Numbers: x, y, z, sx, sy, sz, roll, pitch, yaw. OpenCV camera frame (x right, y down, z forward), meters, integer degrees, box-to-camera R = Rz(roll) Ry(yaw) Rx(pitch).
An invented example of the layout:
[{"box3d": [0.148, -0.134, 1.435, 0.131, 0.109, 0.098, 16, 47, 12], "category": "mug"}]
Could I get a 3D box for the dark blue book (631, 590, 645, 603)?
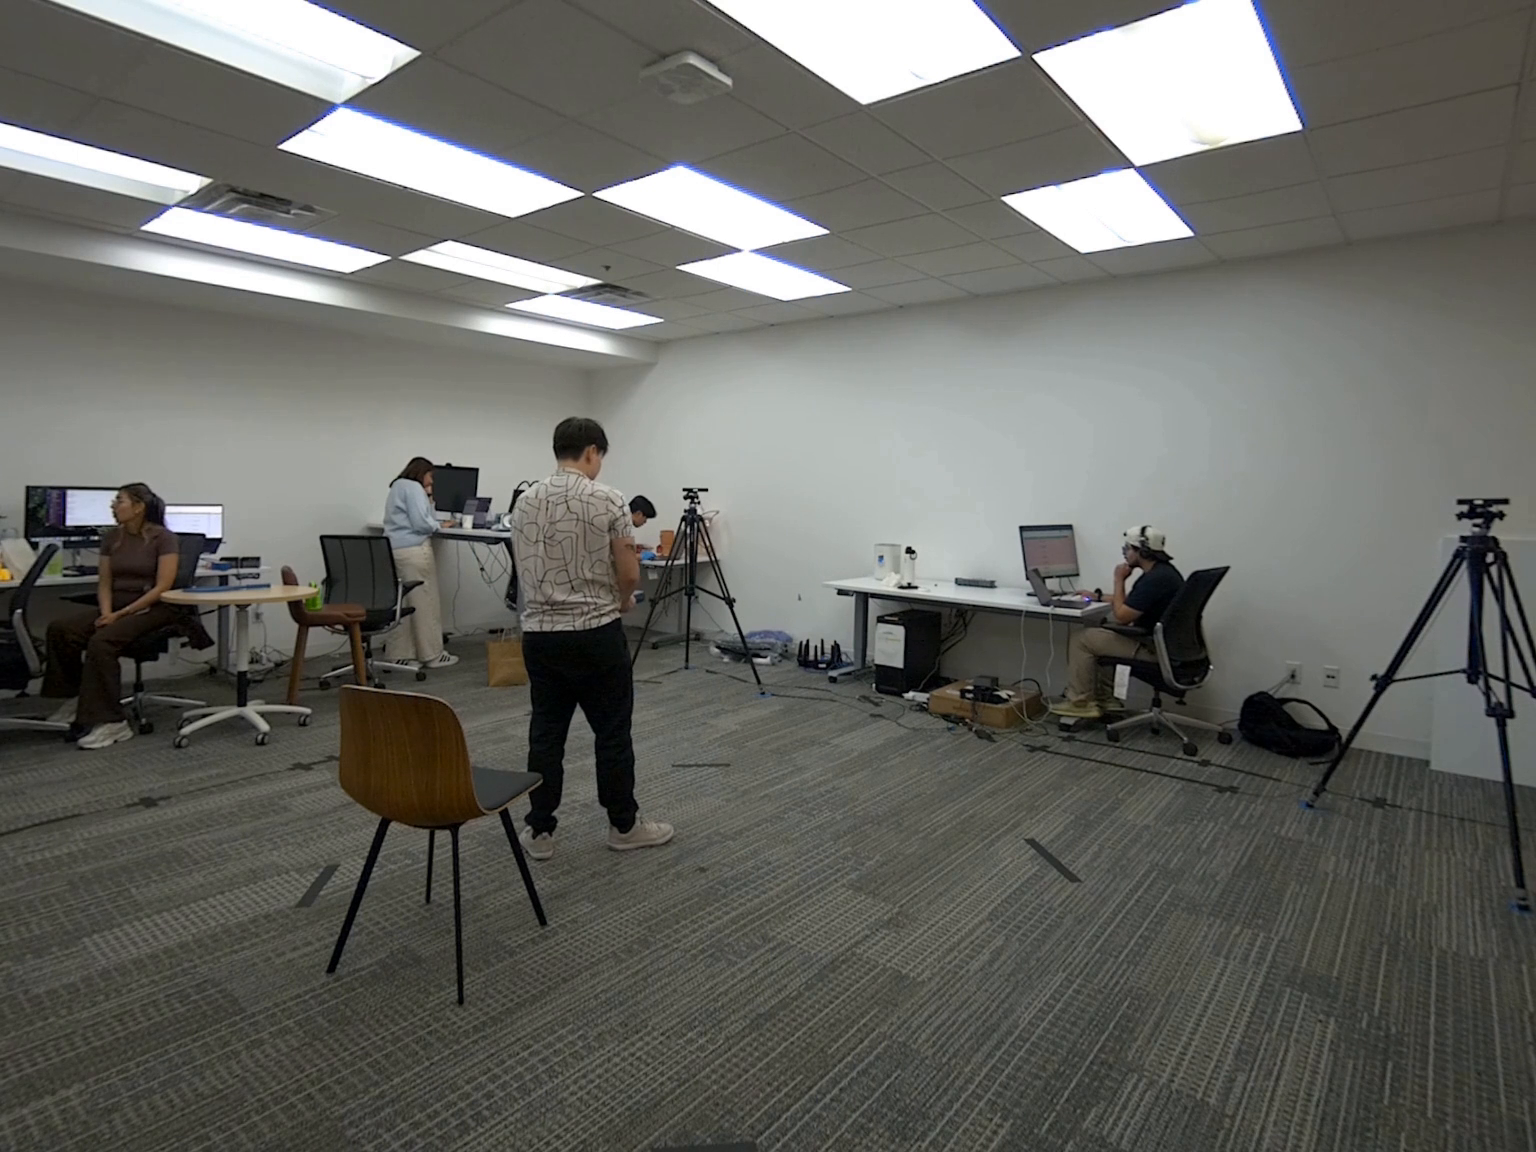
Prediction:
[{"box3d": [-0.644, 0.102, 3.496, 0.167, 0.045, 0.242, 3, 10, 19], "category": "dark blue book"}]
